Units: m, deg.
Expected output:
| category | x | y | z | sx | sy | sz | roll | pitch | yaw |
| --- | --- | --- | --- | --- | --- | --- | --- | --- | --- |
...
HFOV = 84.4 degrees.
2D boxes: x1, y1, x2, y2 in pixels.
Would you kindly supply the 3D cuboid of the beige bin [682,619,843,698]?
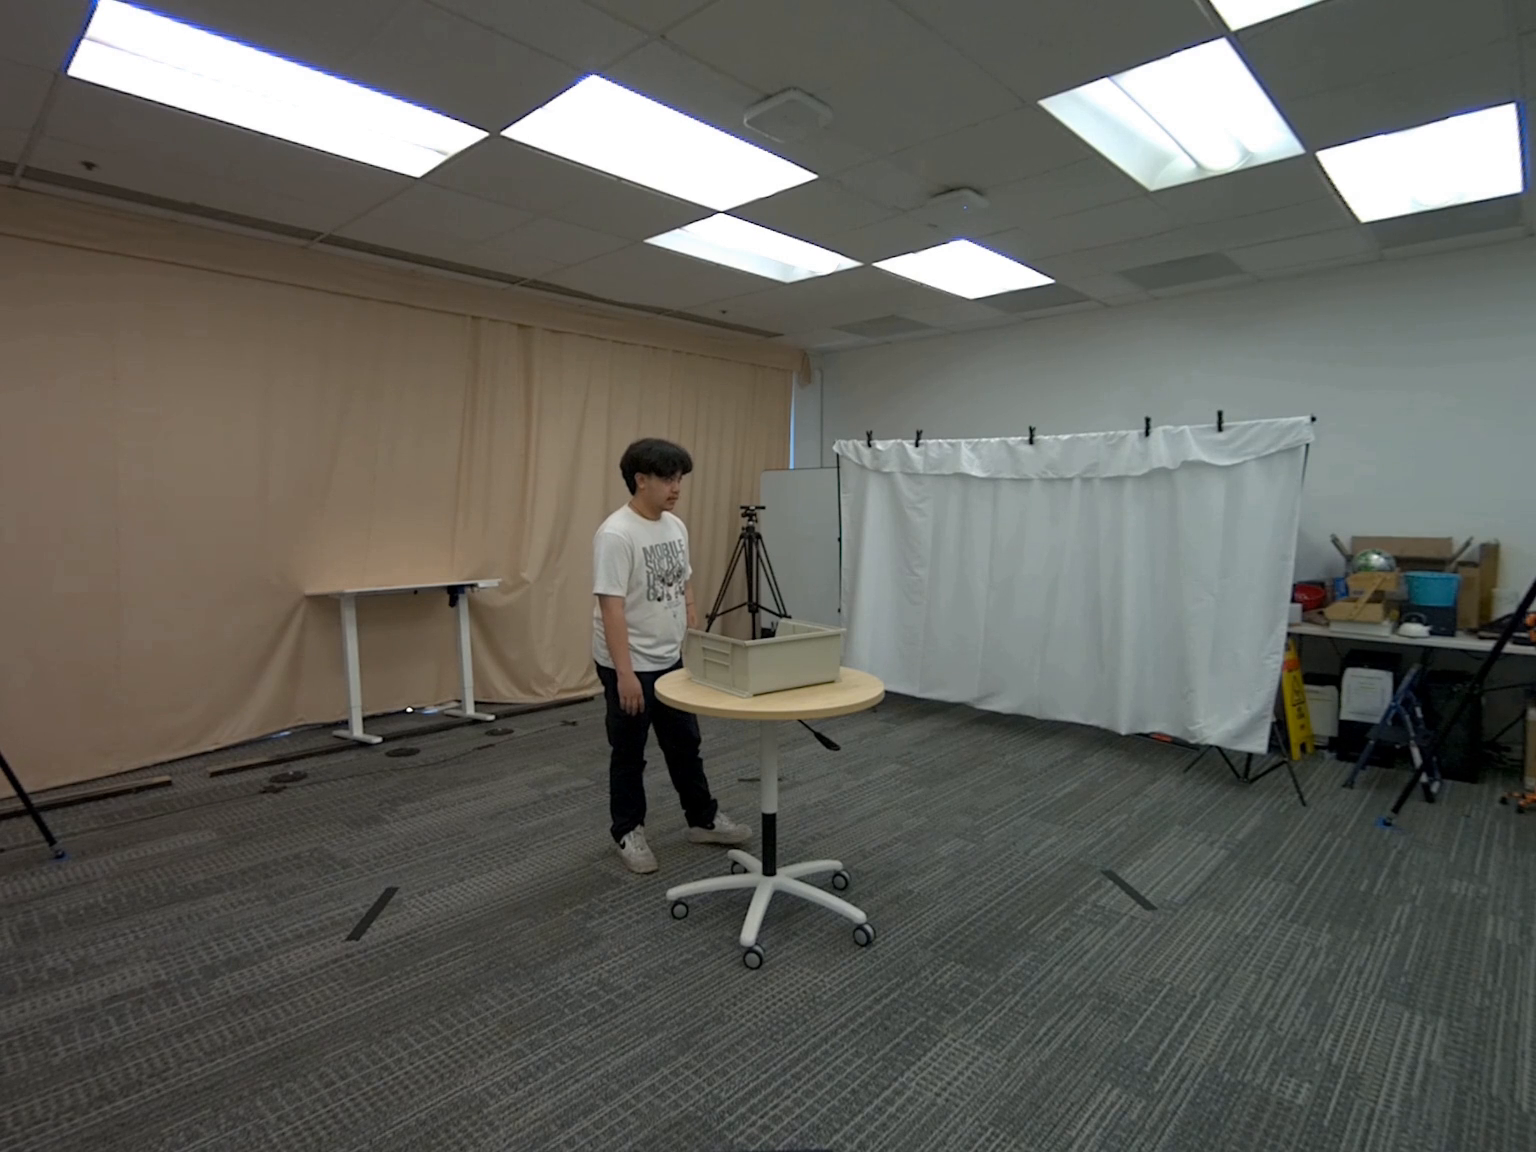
| category | x | y | z | sx | sy | sz | roll | pitch | yaw |
| --- | --- | --- | --- | --- | --- | --- | --- | --- | --- |
| beige bin | -0.015 | 0.267 | 2.858 | 0.410 | 0.188 | 0.390 | -3 | 7 | -36 |
